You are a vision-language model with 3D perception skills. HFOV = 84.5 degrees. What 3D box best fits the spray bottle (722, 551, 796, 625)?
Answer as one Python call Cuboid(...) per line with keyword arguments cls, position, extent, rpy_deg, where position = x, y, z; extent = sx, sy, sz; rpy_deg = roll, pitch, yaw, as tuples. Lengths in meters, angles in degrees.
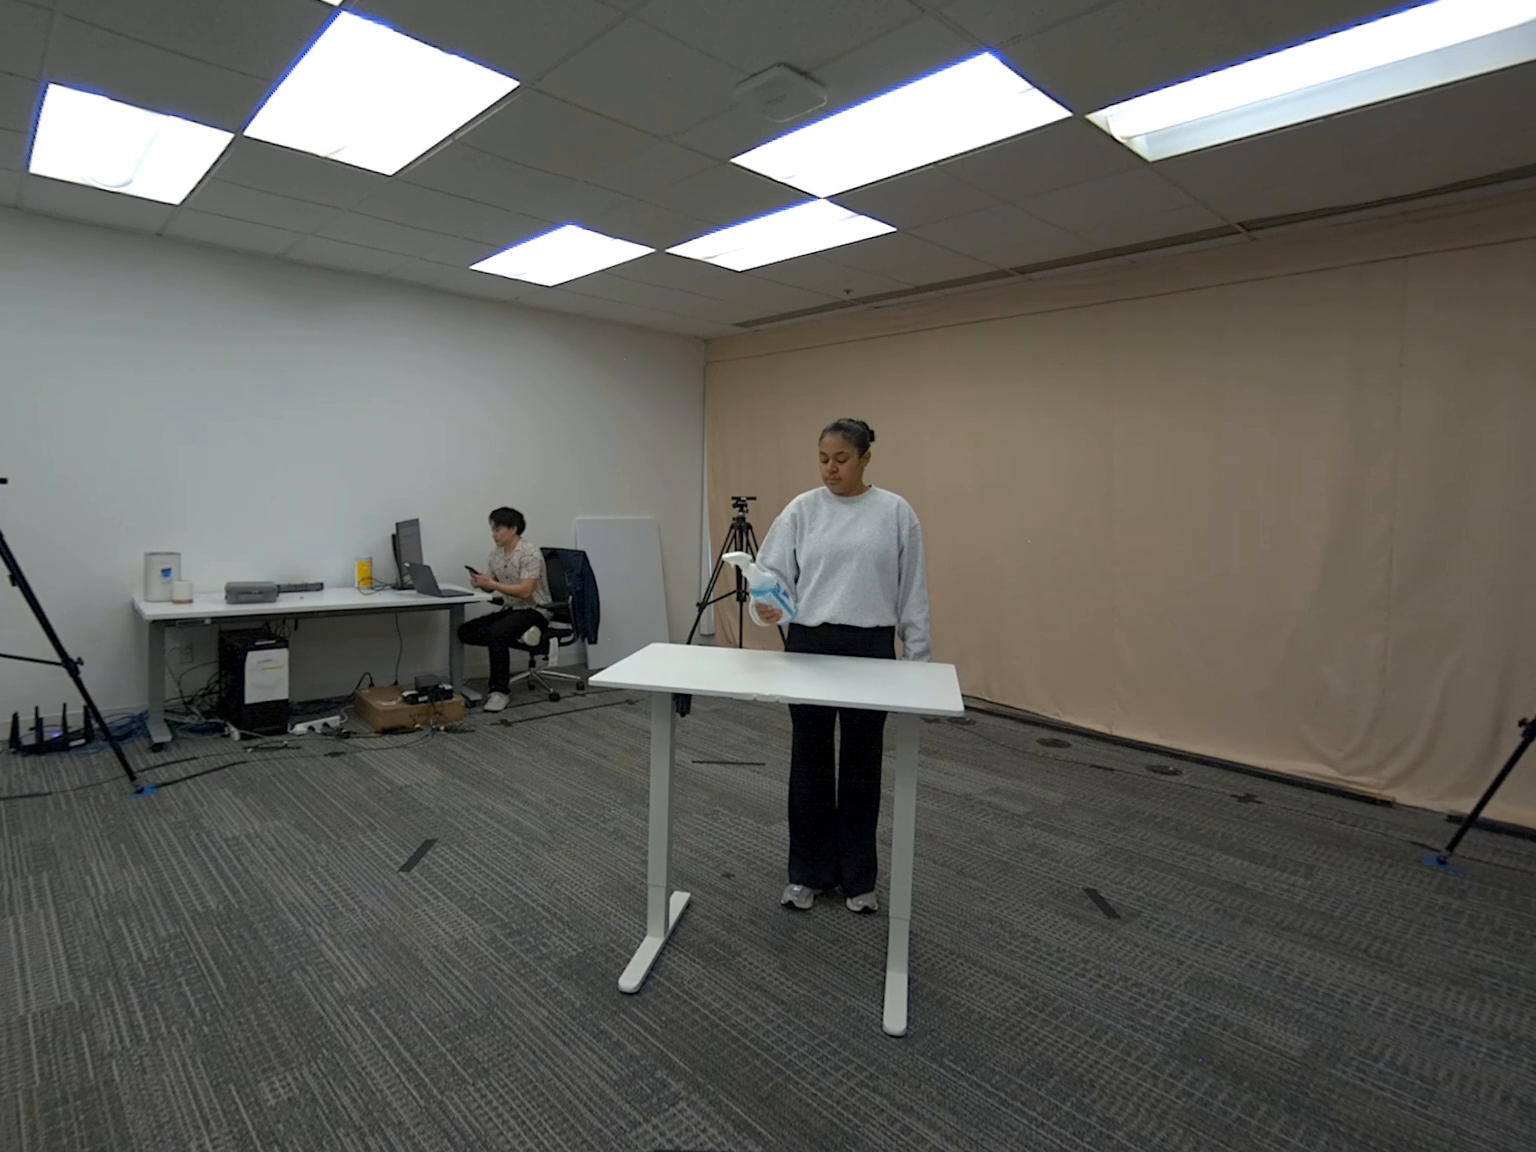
Cuboid(cls="spray bottle", position=(-0.029, 0.024, 2.544), extent=(0.092, 0.087, 0.289), rpy_deg=(15, -31, 53))
